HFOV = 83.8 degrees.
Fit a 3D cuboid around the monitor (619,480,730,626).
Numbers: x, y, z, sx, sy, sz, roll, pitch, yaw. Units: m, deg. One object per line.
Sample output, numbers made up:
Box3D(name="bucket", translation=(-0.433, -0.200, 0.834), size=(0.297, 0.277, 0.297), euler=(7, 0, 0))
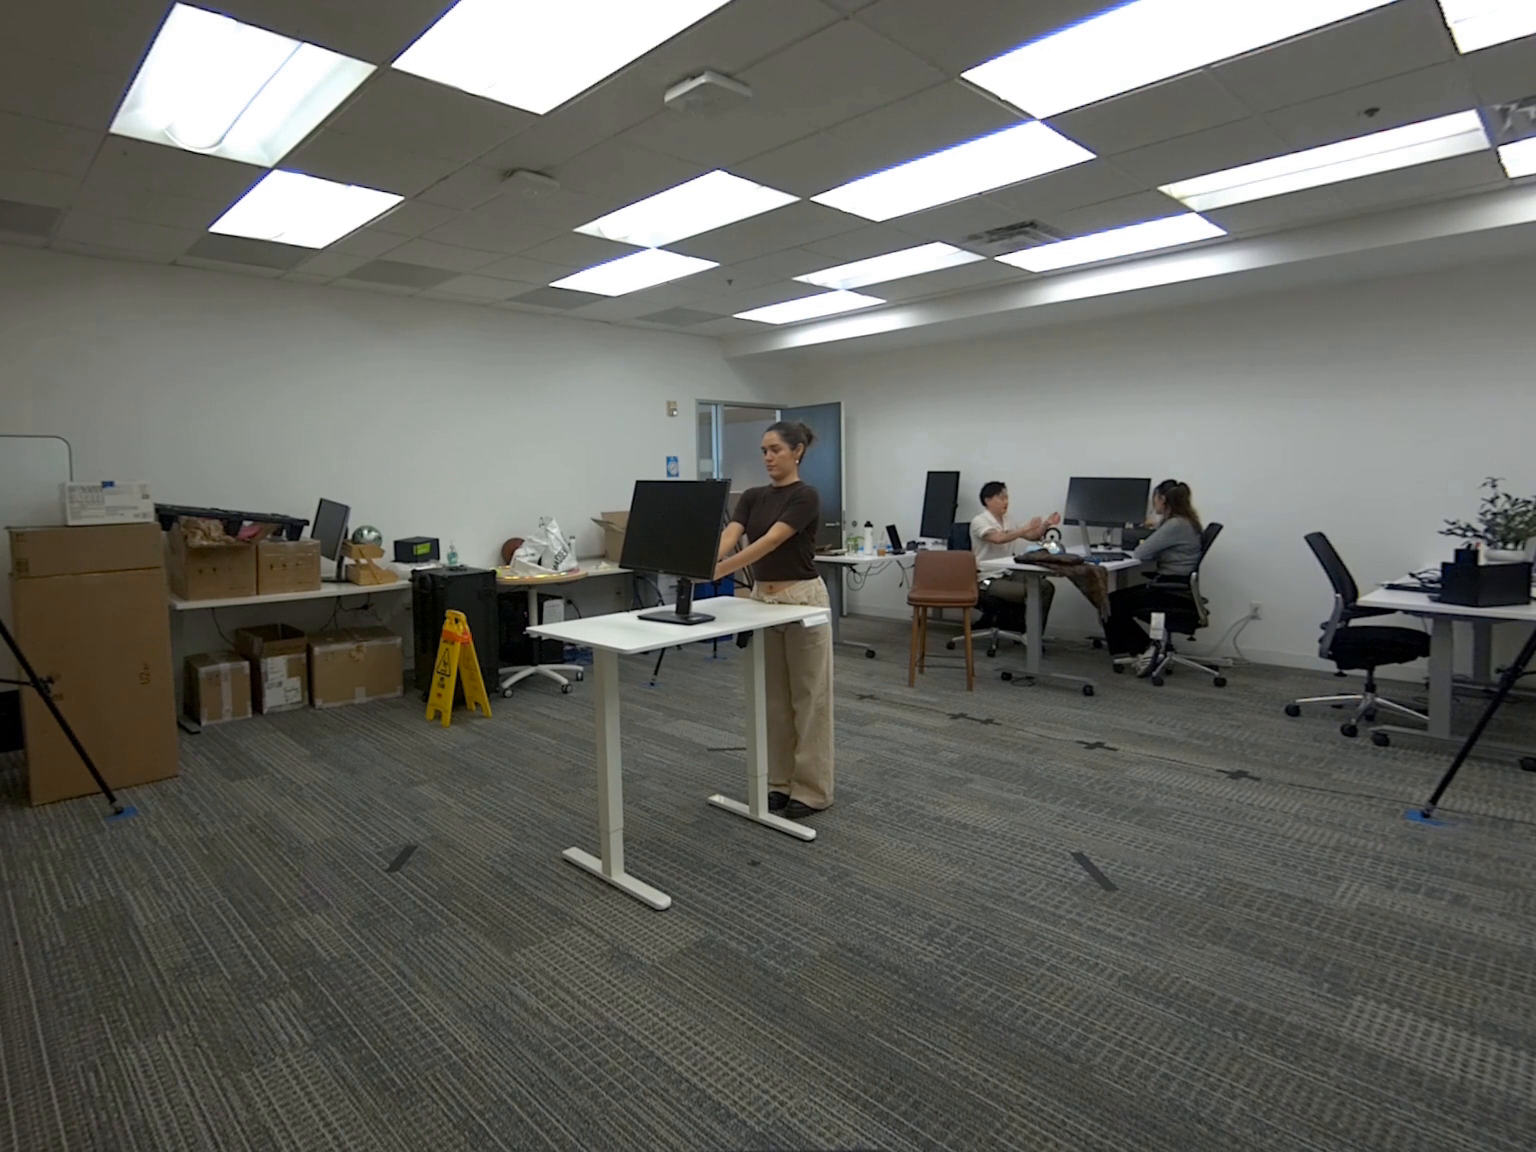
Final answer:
Box3D(name="monitor", translation=(-0.324, -0.091, 3.160), size=(0.556, 0.521, 0.182), euler=(4, 5, 43))
